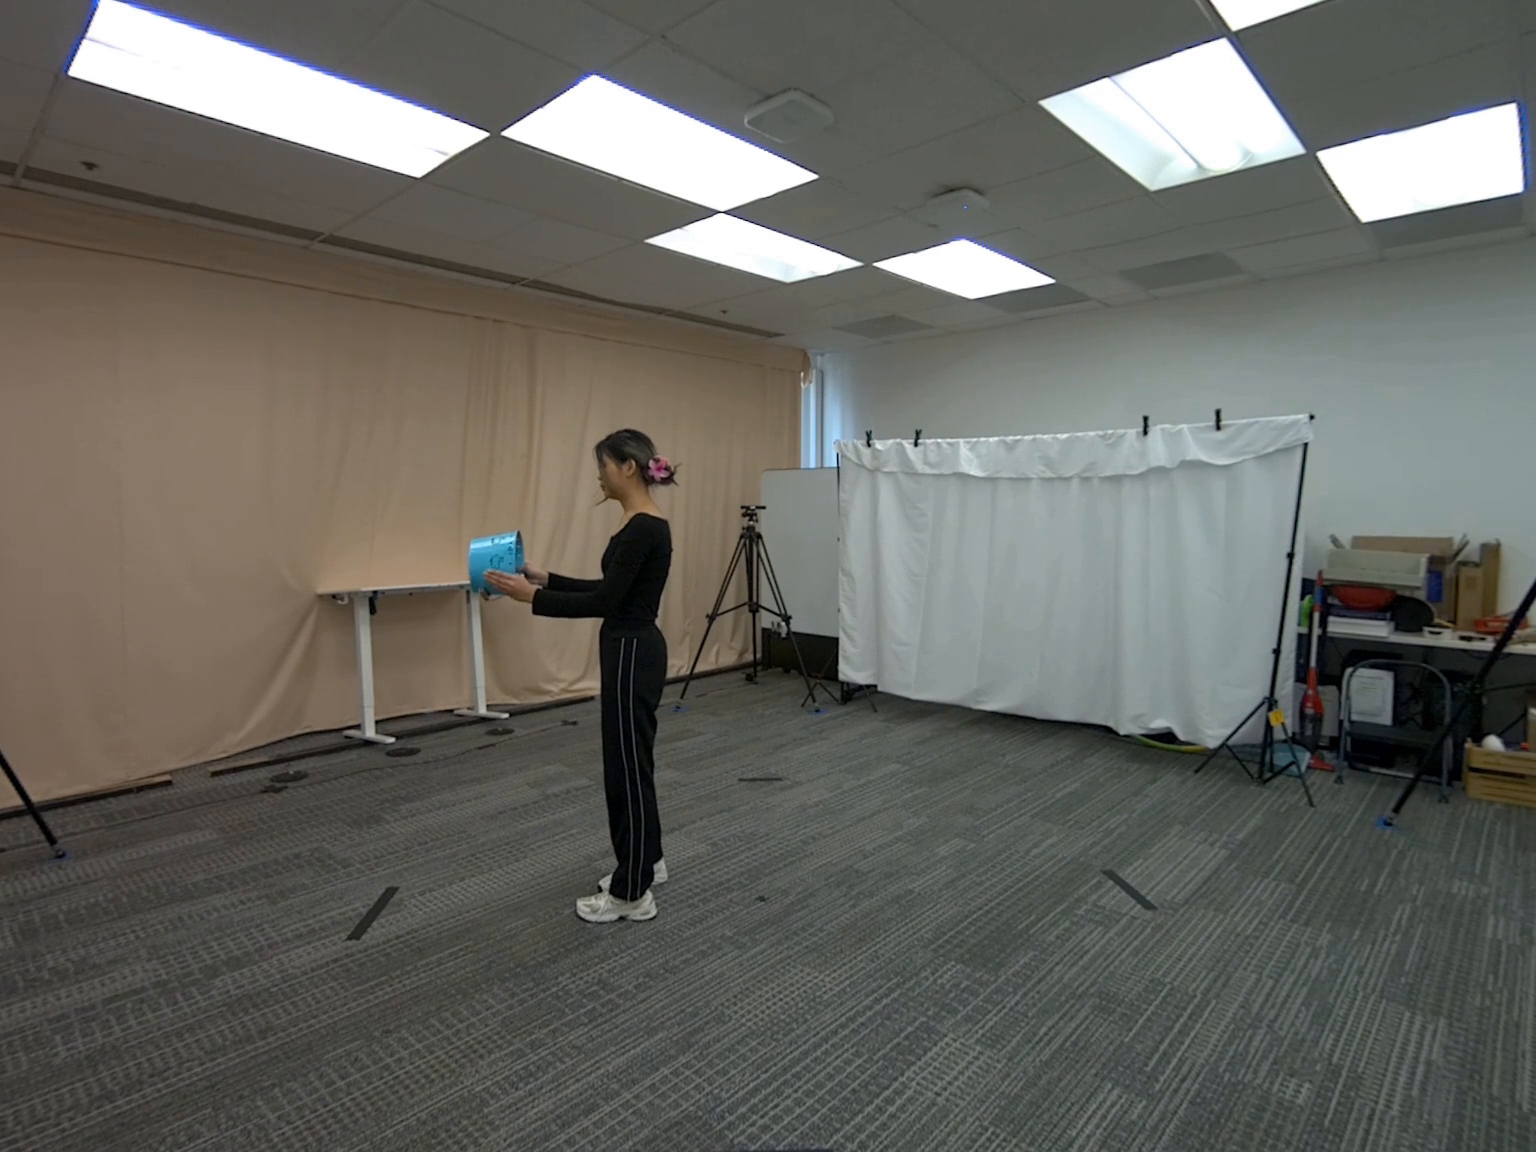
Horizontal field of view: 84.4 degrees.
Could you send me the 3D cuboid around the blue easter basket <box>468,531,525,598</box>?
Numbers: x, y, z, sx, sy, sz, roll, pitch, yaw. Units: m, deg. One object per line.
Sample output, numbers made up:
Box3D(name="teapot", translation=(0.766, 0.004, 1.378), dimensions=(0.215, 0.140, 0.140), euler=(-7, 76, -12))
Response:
Box3D(name="blue easter basket", translation=(-0.913, -0.035, 2.830), dimensions=(0.155, 0.243, 0.246), euler=(-1, 4, -8))
